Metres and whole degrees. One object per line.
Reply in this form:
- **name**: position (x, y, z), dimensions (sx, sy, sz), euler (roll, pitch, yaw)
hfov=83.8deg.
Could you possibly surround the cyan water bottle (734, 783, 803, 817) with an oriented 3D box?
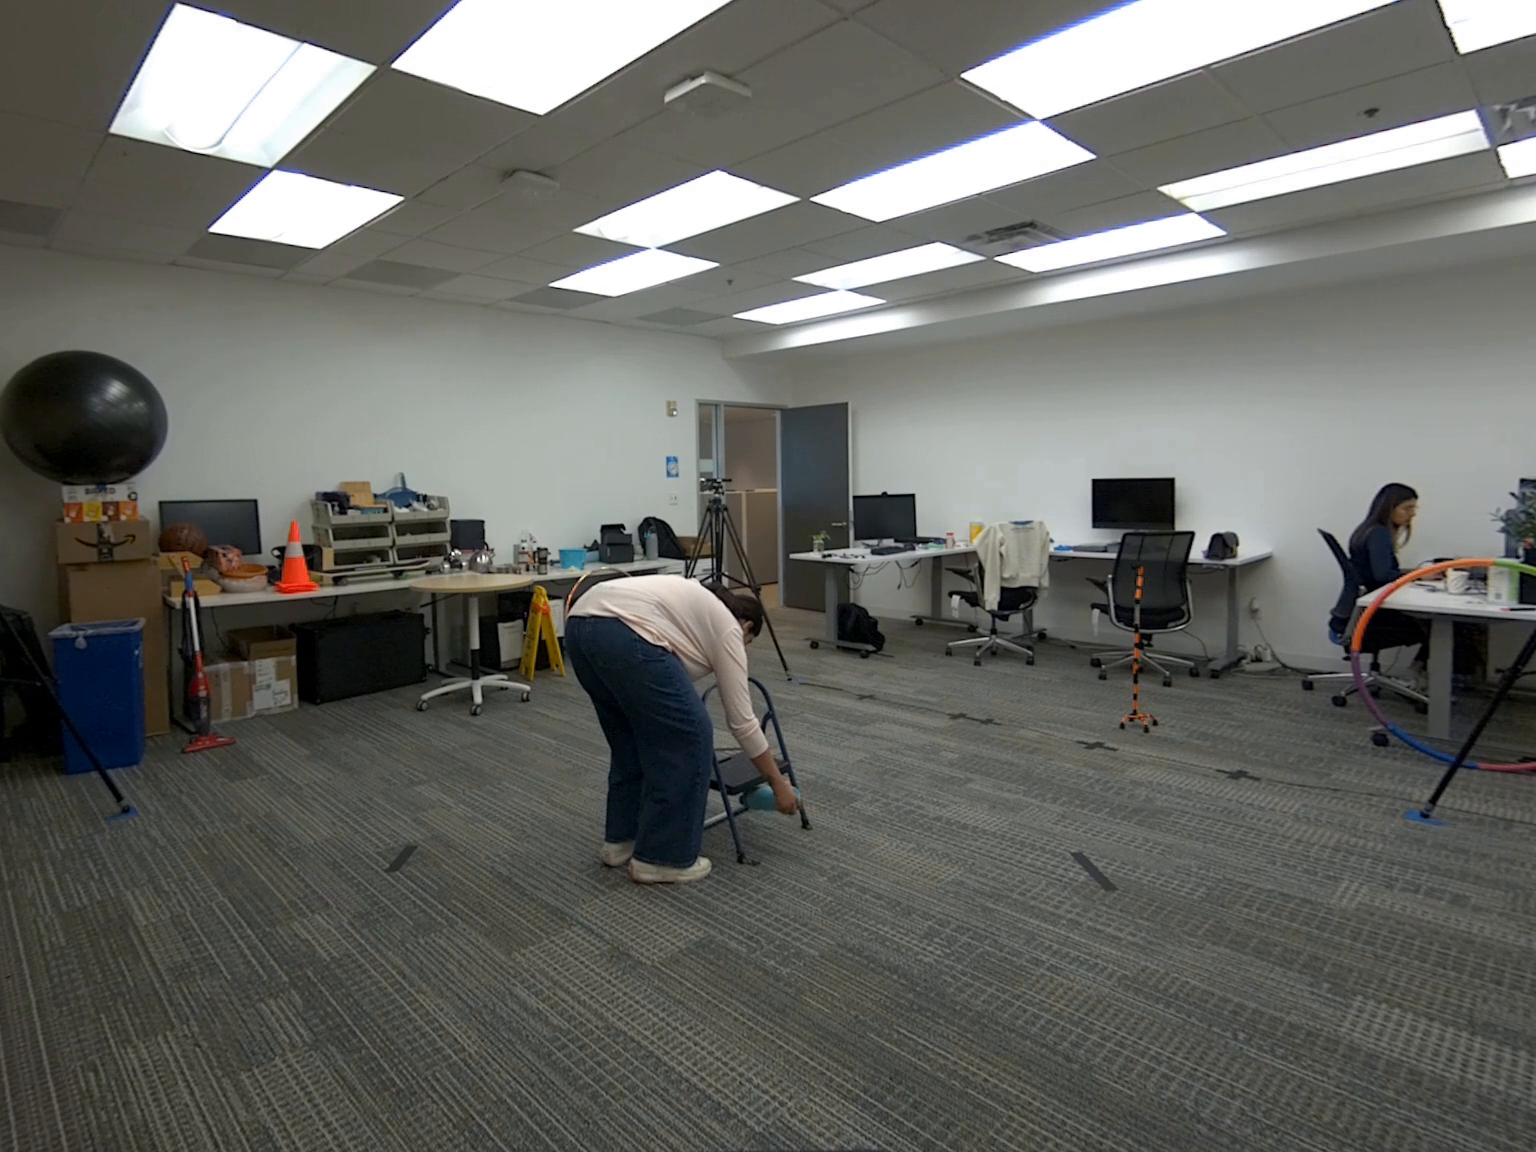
- **cyan water bottle**: position (-0.003, 0.854, 3.267), dimensions (0.090, 0.093, 0.287), euler (-5, -11, -38)
